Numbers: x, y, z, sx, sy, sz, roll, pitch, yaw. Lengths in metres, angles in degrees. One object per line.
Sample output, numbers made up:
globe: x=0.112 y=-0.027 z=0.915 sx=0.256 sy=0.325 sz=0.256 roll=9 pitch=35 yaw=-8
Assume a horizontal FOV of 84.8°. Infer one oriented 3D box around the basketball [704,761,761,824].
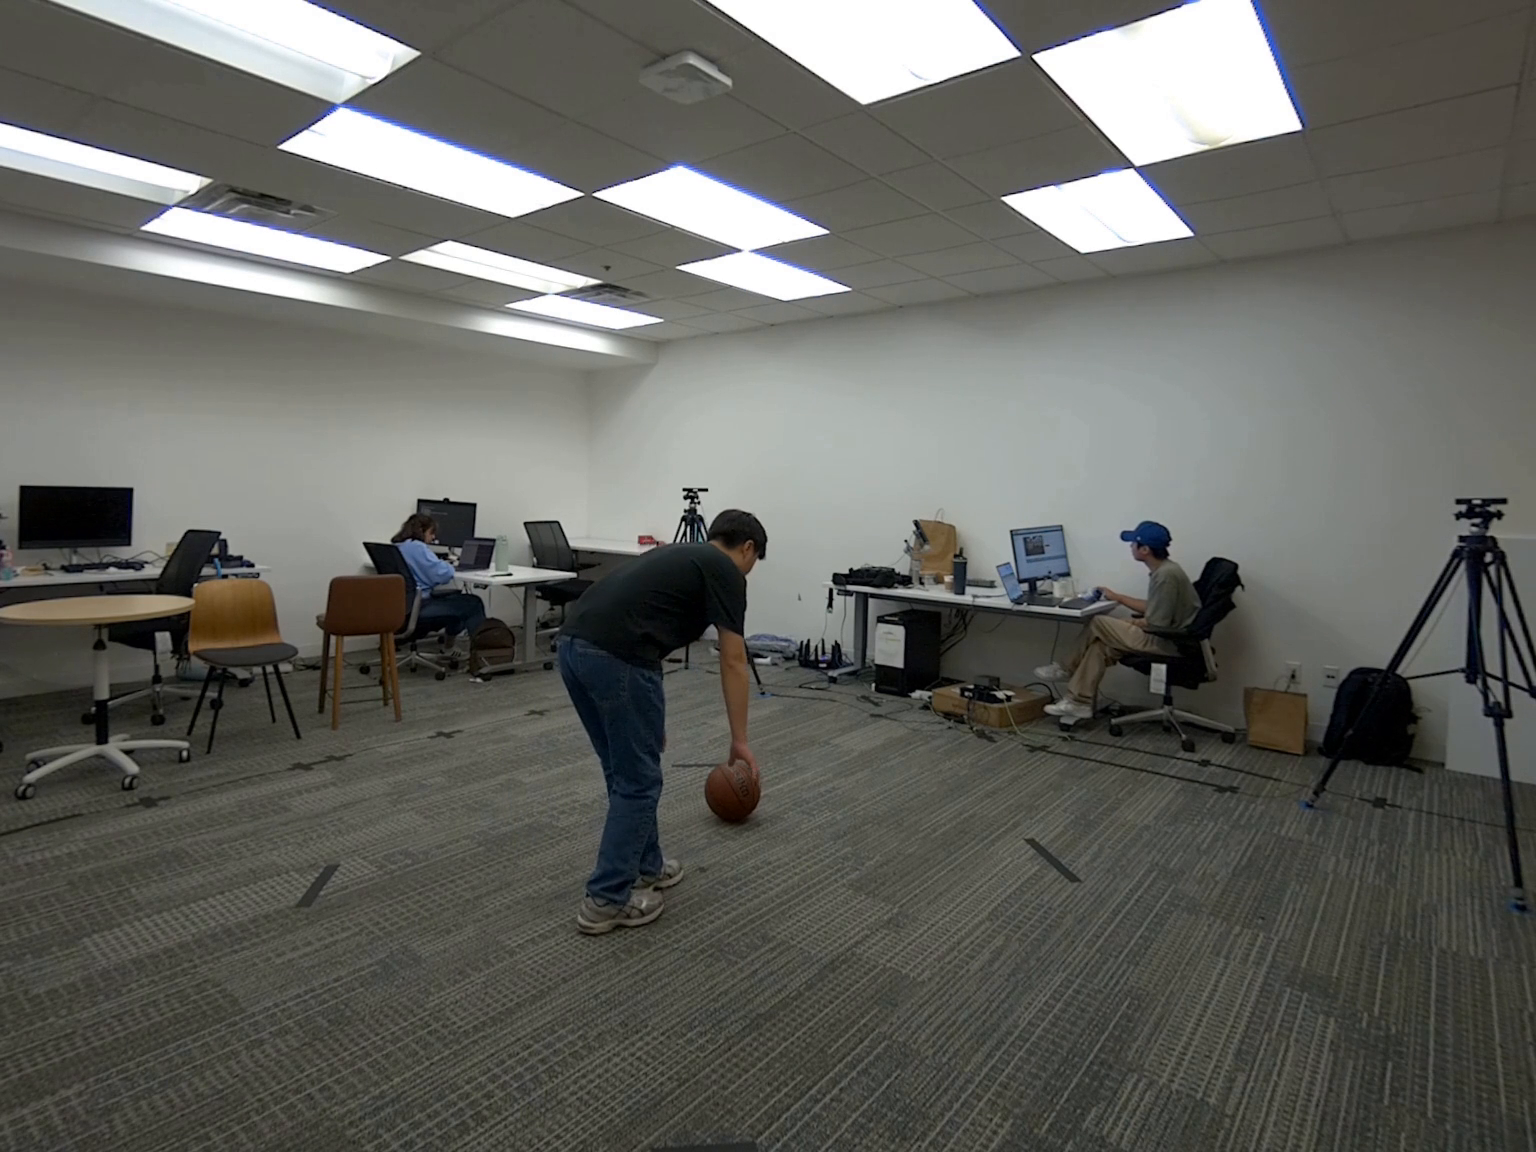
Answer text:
basketball: x=-0.156 y=0.901 z=3.598 sx=0.235 sy=0.235 sz=0.237 roll=1 pitch=4 yaw=-2
